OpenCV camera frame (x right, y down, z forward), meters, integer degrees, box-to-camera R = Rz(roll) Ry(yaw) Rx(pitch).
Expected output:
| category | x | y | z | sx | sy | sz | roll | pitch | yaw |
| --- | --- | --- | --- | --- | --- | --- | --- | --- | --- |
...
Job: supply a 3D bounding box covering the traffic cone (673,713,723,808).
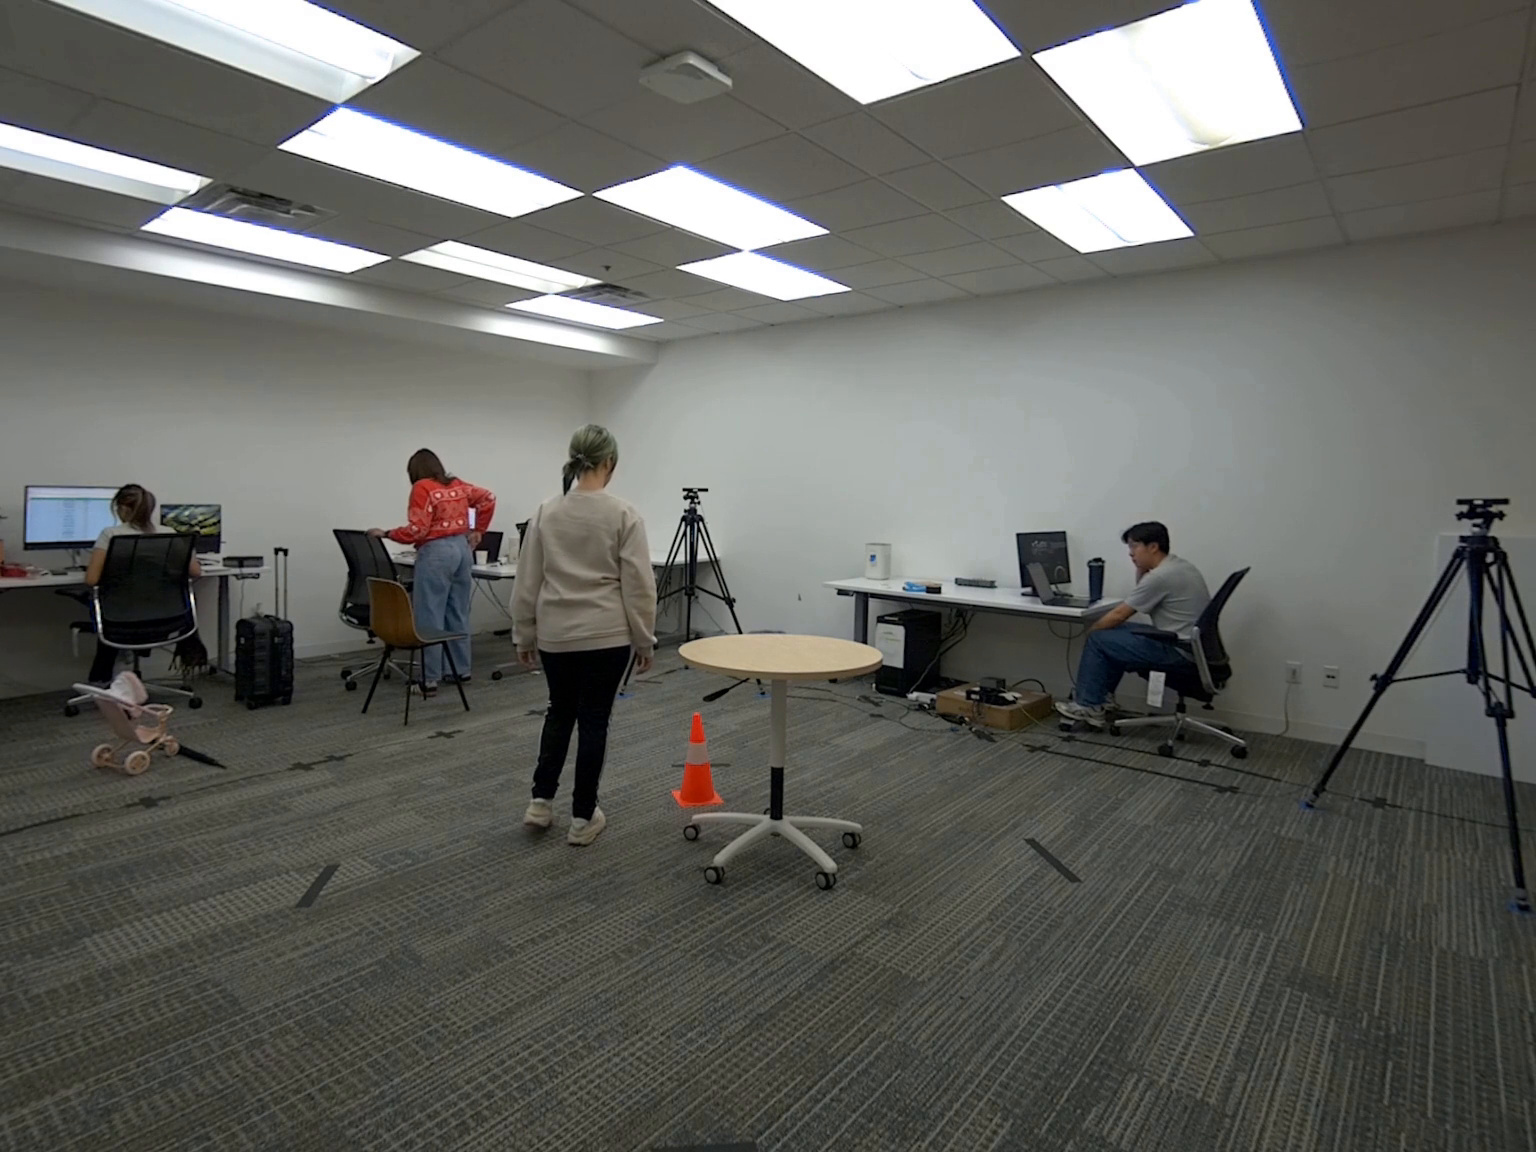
| category | x | y | z | sx | sy | sz | roll | pitch | yaw |
| --- | --- | --- | --- | --- | --- | --- | --- | --- | --- |
| traffic cone | -0.335 | 0.812 | 3.841 | 0.199 | 0.383 | 0.209 | 0 | 2 | -19 |
